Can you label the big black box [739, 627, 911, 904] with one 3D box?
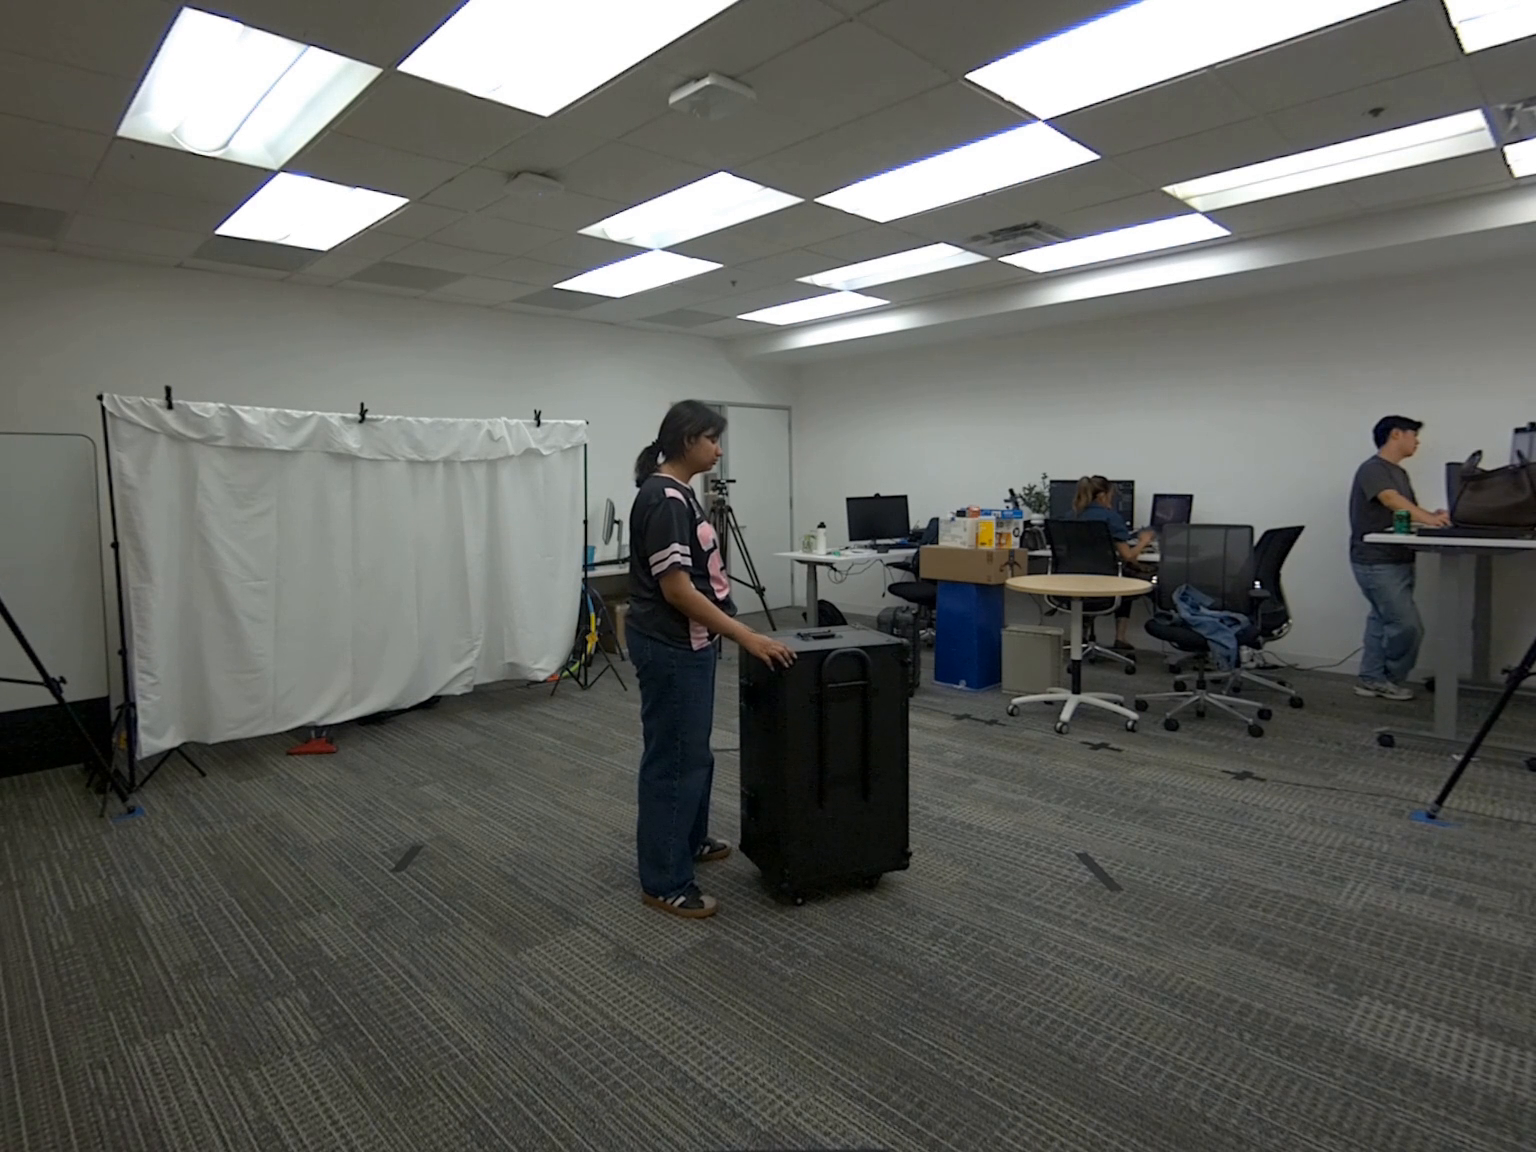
[{"bbox_3d":[0.196,0.636,2.961,0.513,0.865,0.394,-3,5,-22],"label":"big black box"}]
